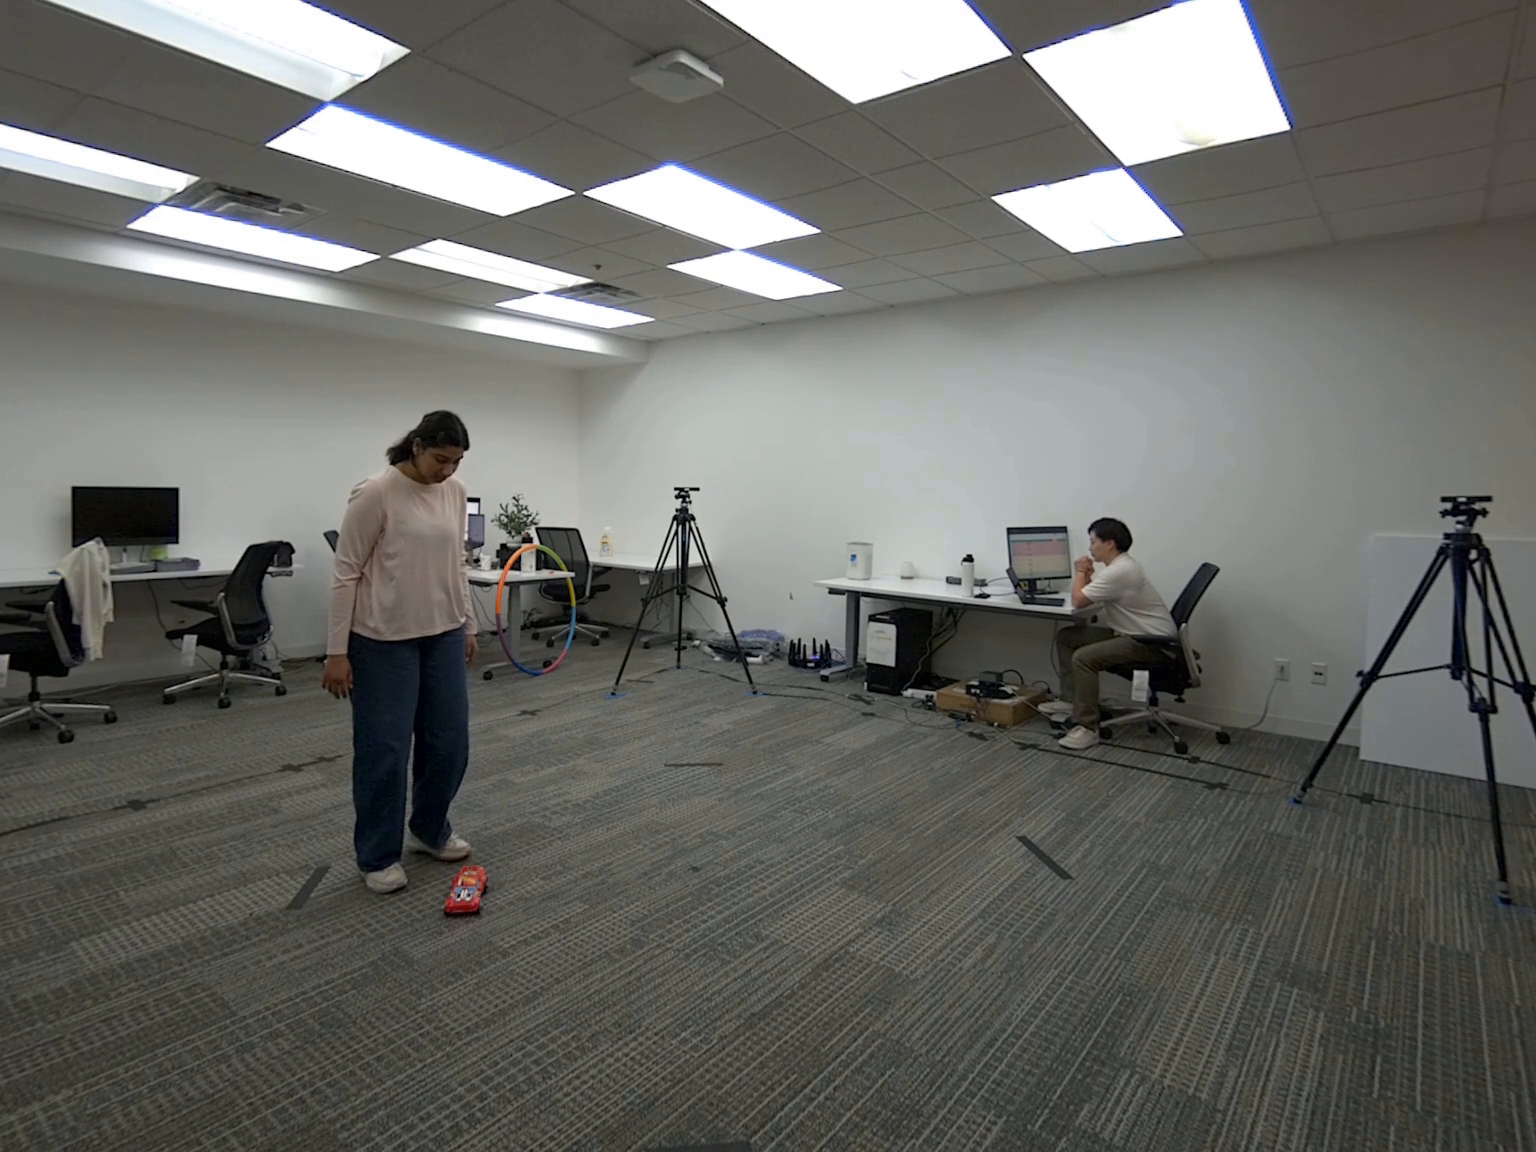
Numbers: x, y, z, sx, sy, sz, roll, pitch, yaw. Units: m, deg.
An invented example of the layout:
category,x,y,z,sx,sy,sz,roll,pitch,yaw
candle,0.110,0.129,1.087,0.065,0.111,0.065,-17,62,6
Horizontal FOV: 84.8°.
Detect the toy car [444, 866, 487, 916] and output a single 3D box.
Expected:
category,x,y,z,sx,sy,sz,roll,pitch,yaw
toy car,-1.019,1.052,2.841,0.129,0.082,0.260,1,16,-9
